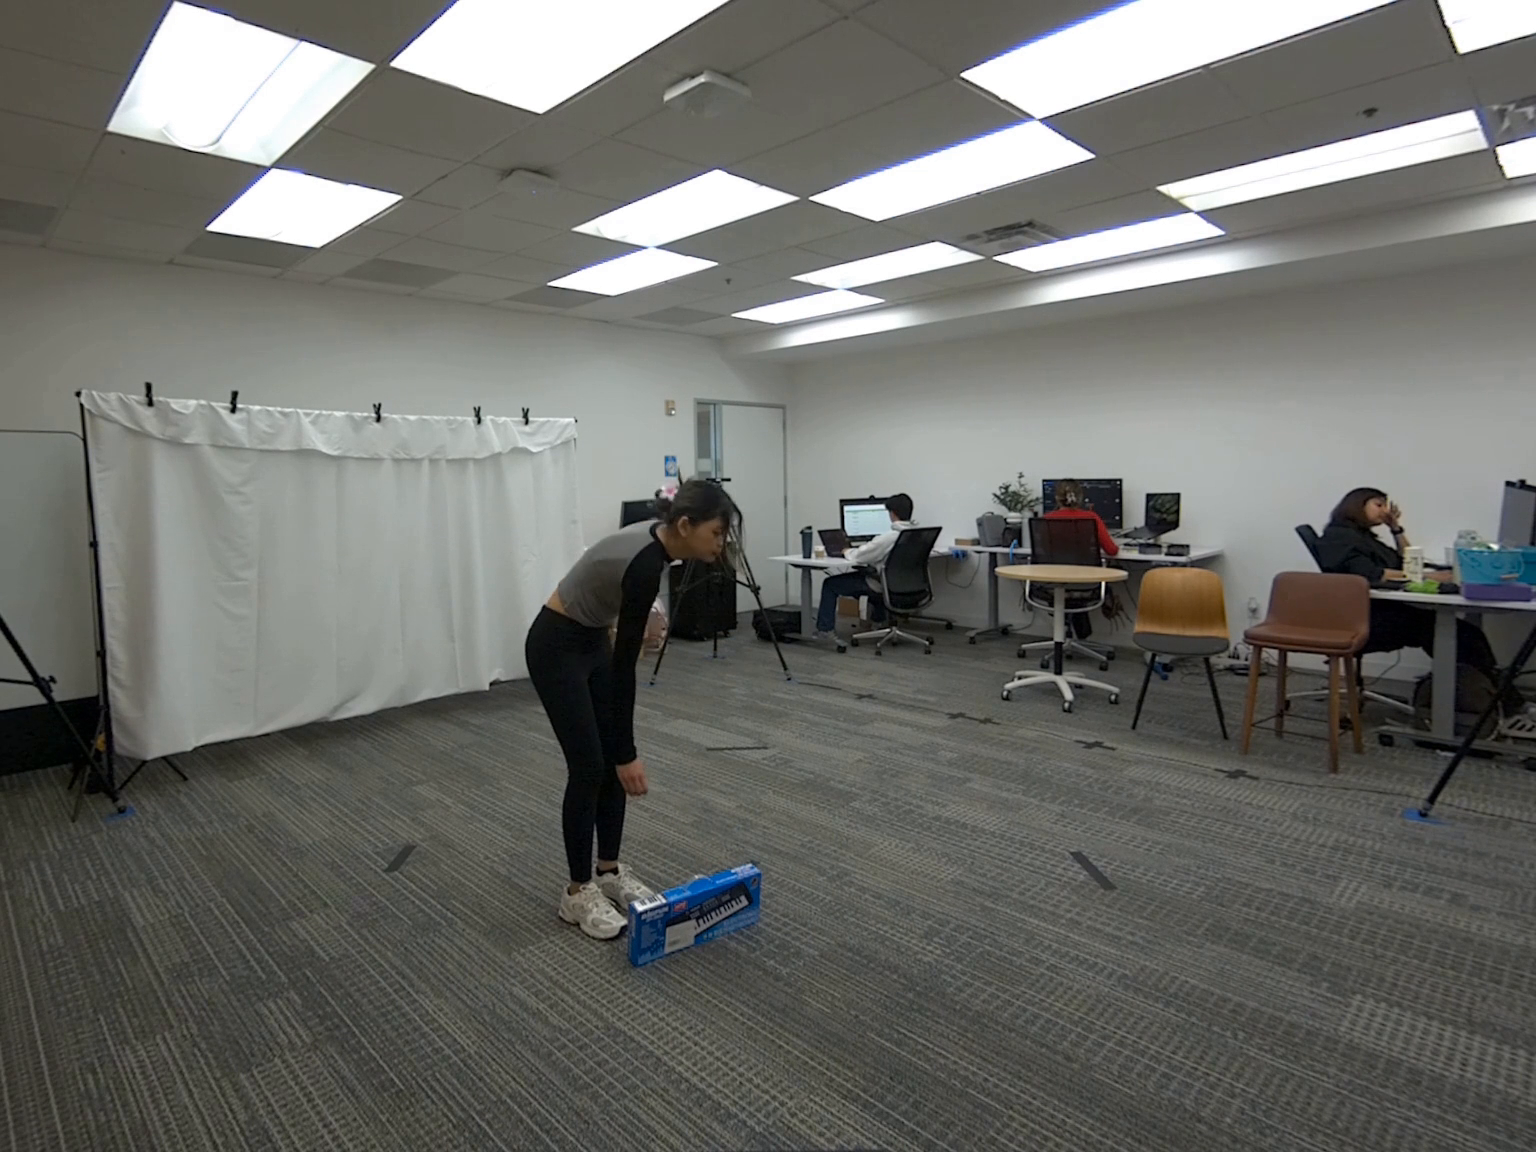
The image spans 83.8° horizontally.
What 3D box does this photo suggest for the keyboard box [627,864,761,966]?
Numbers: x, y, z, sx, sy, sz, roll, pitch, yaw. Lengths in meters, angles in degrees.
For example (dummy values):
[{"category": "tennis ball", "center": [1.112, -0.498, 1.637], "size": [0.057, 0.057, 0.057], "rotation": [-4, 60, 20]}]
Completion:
[{"category": "keyboard box", "center": [-0.214, 1.020, 2.583], "size": [0.426, 0.174, 0.061], "rotation": [-6, 12, -34]}]
